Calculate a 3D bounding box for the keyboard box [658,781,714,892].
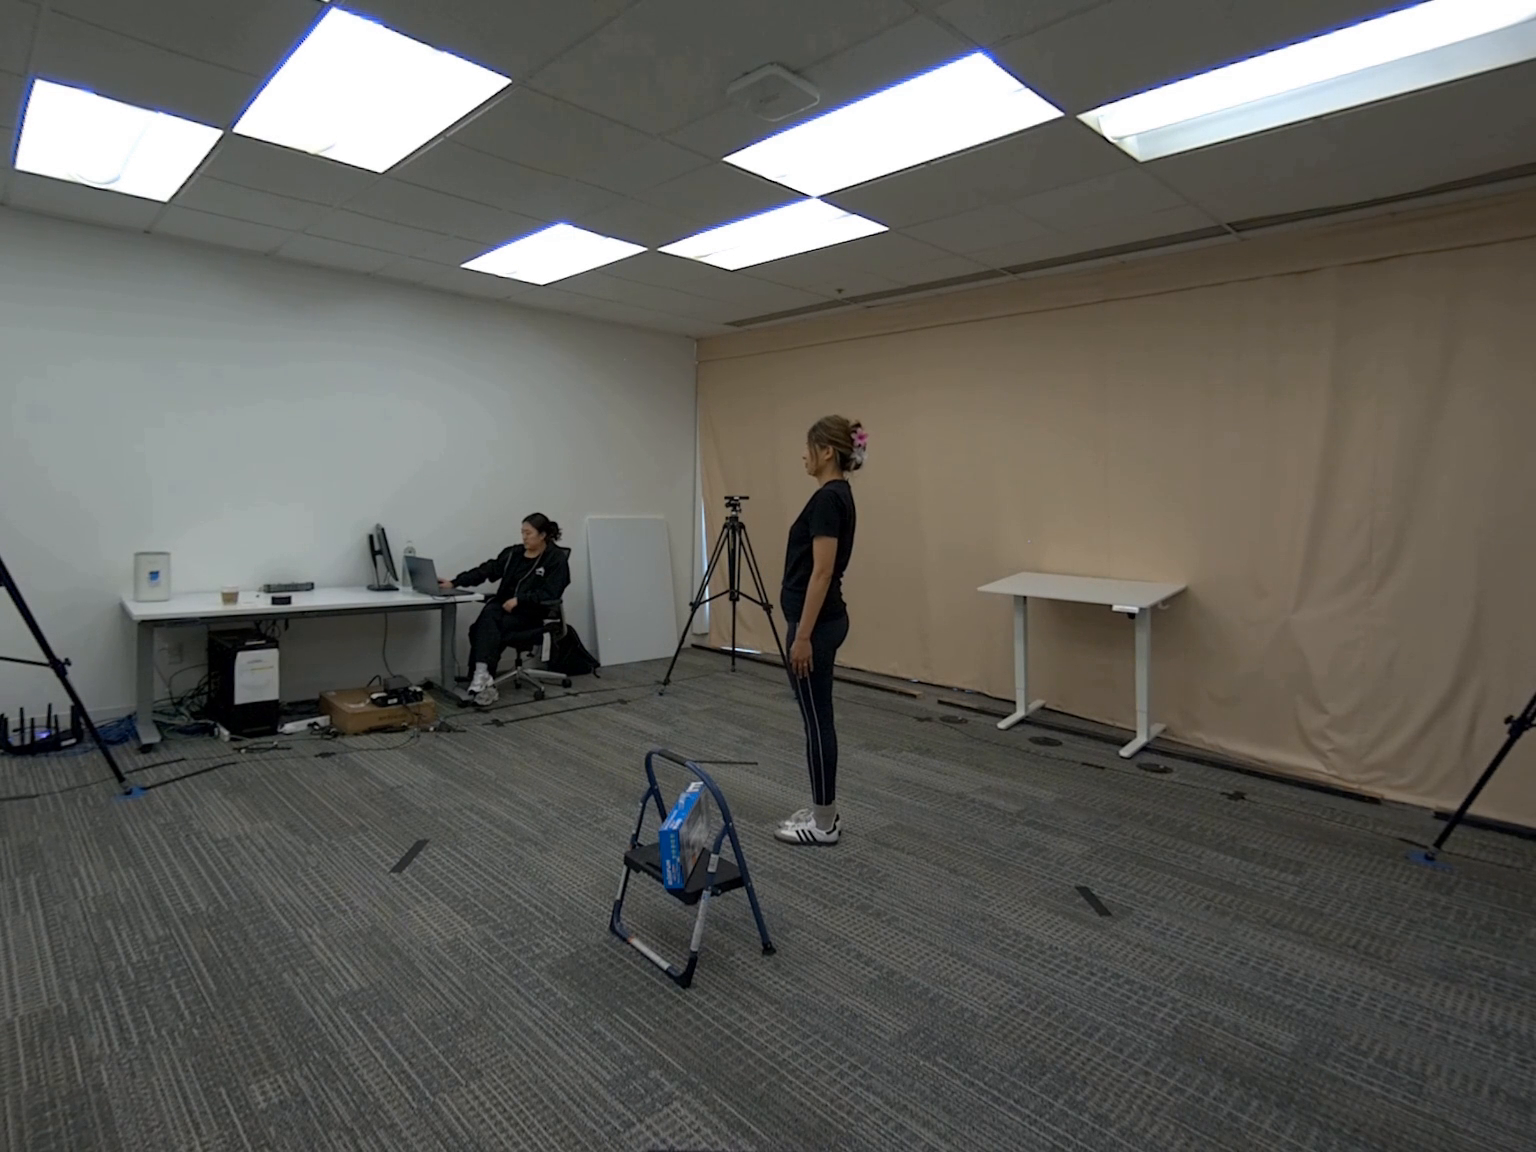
[{"bbox_3d":[-0.257,0.800,2.609,0.059,0.175,0.435,-4,4,7],"label":"keyboard box"}]
